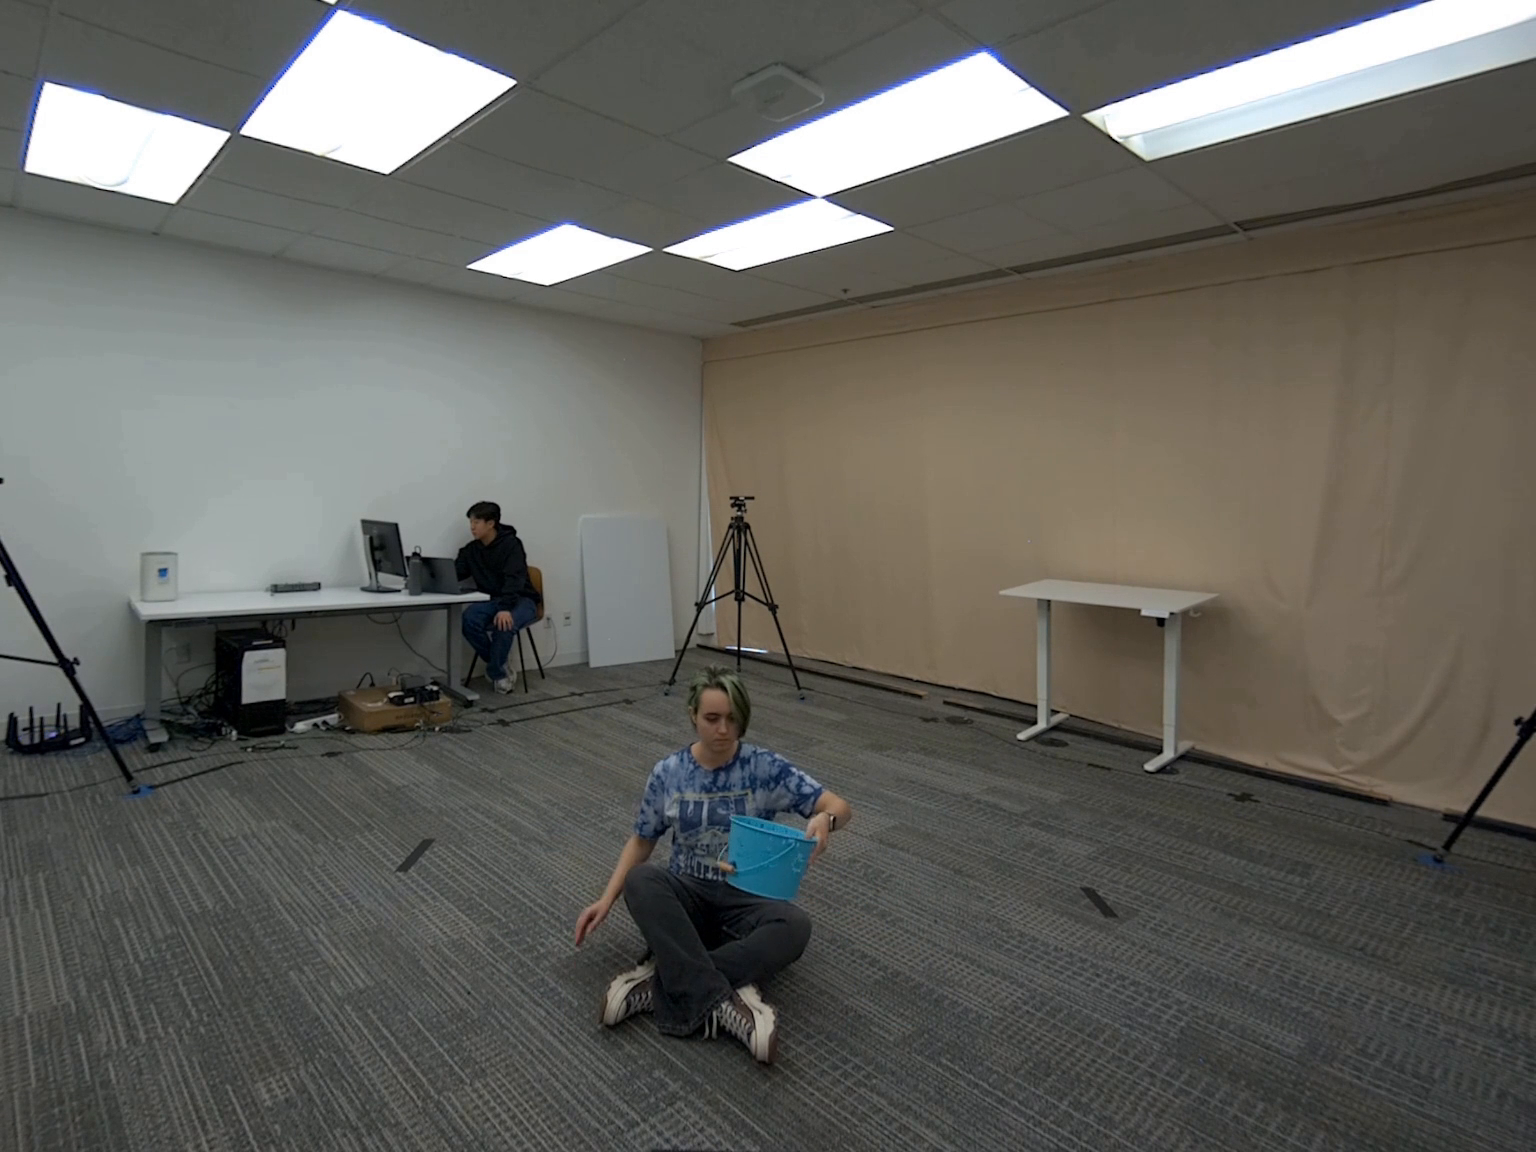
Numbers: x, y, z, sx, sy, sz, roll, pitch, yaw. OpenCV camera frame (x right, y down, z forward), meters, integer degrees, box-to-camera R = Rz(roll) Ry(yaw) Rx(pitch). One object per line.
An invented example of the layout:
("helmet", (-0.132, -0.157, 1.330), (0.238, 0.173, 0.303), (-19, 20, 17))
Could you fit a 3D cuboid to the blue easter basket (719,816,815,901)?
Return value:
("blue easter basket", (-0.016, 0.730, 2.147), (0.244, 0.157, 0.242), (16, -10, 2))
